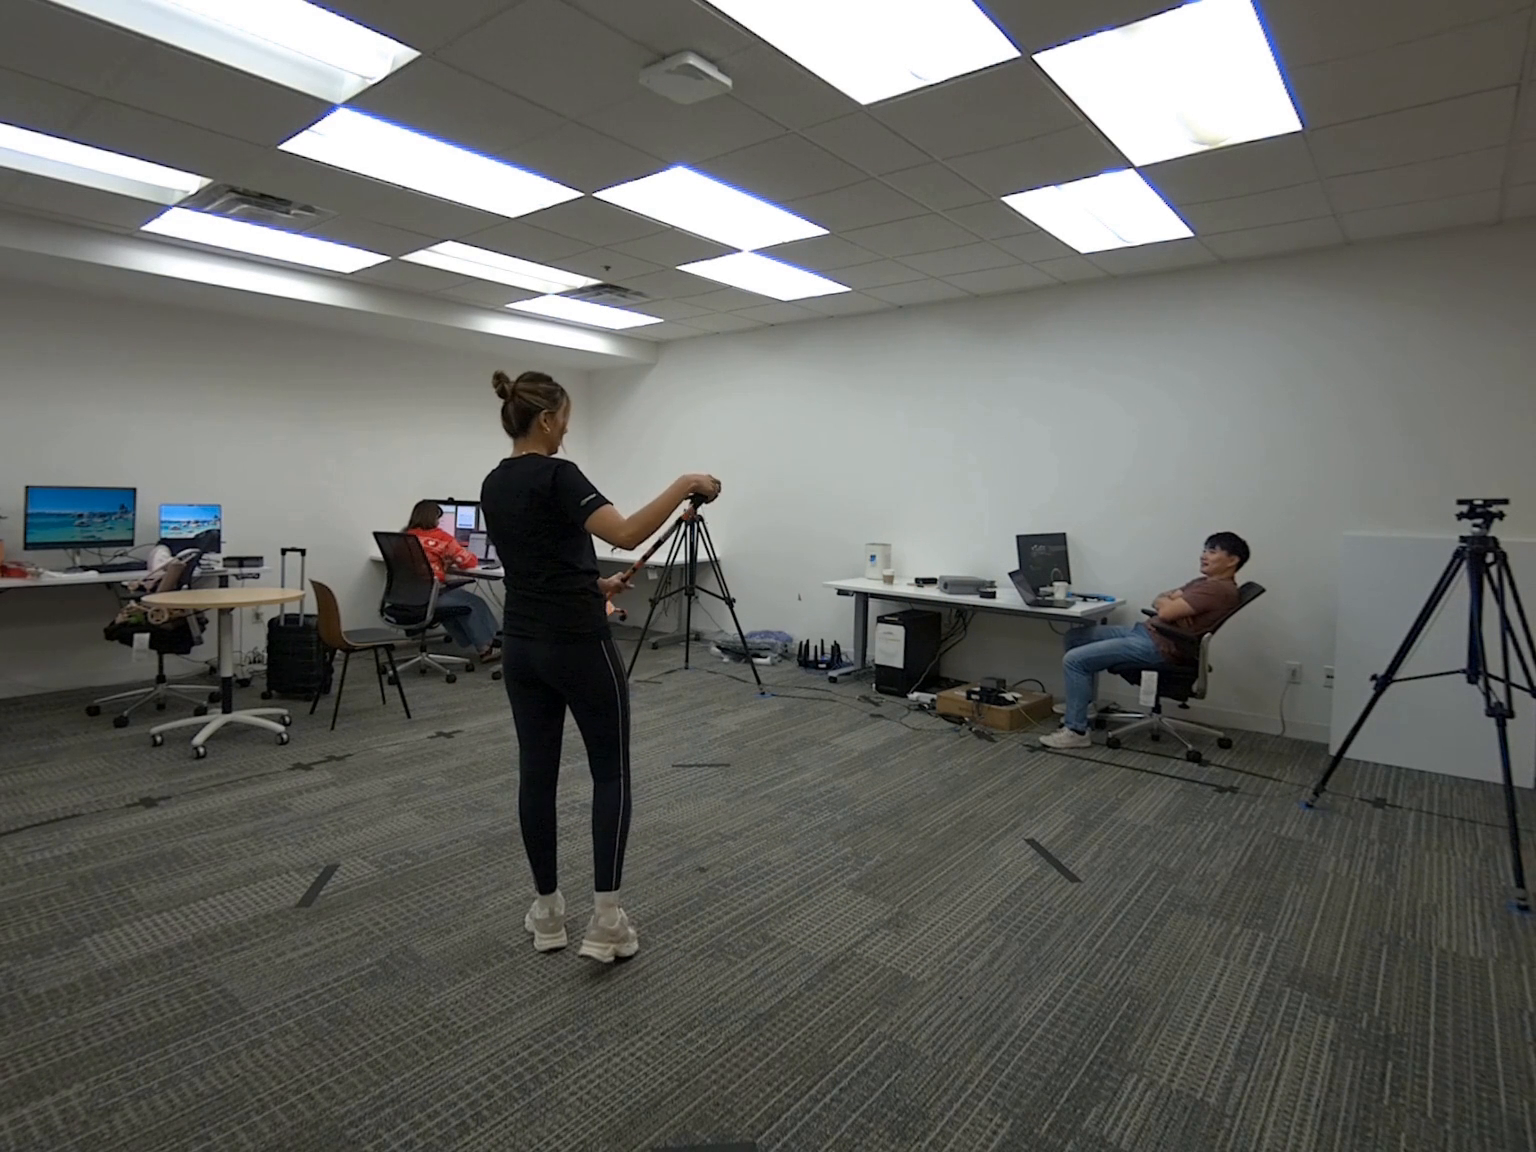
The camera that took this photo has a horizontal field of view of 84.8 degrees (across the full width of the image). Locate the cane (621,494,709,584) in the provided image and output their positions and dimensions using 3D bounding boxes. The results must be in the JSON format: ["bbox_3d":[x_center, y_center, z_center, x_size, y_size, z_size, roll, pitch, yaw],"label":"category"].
[{"bbox_3d":[-0.402,-0.054,2.881,0.149,0.209,0.911,36,-43,-13],"label":"cane"}]
